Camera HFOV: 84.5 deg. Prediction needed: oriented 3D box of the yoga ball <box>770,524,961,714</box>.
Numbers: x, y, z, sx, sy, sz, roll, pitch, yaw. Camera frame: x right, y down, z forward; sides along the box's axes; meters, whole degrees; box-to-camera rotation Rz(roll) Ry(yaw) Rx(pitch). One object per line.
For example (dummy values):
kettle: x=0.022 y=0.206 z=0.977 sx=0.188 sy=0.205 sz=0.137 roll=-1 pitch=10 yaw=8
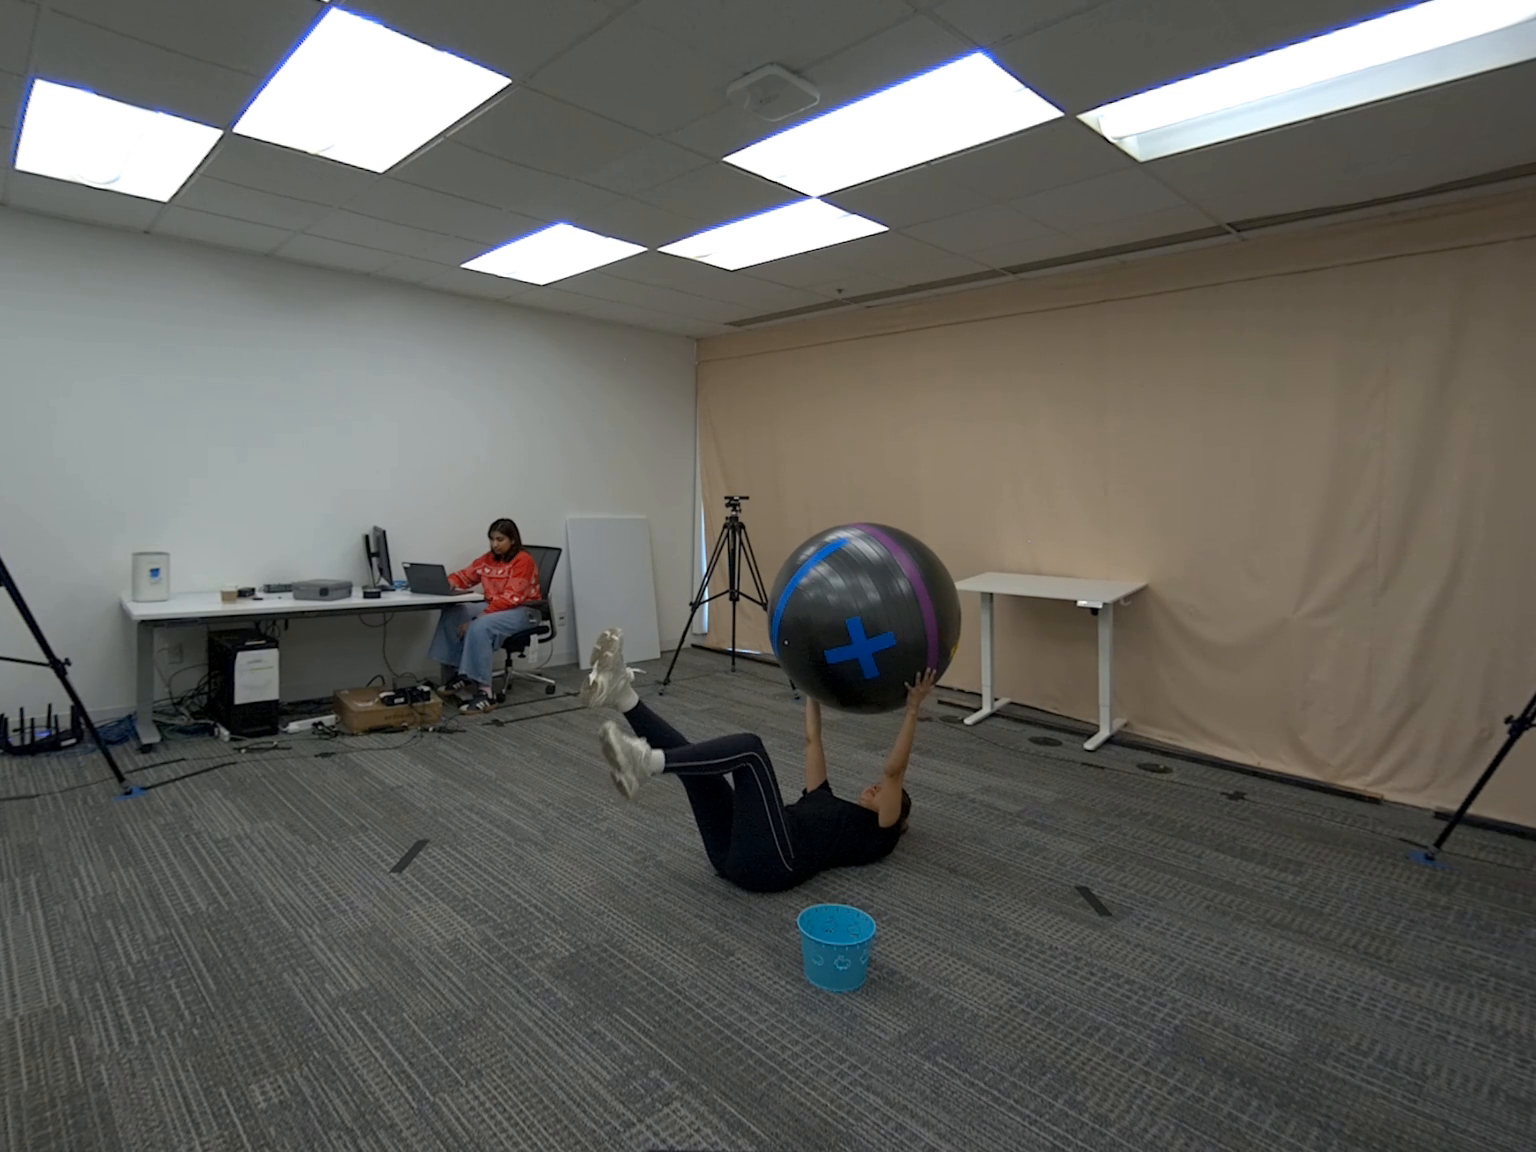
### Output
yoga ball: x=0.373 y=0.170 z=3.340 sx=0.757 sy=0.754 sz=0.762 roll=0 pitch=7 yaw=-1
